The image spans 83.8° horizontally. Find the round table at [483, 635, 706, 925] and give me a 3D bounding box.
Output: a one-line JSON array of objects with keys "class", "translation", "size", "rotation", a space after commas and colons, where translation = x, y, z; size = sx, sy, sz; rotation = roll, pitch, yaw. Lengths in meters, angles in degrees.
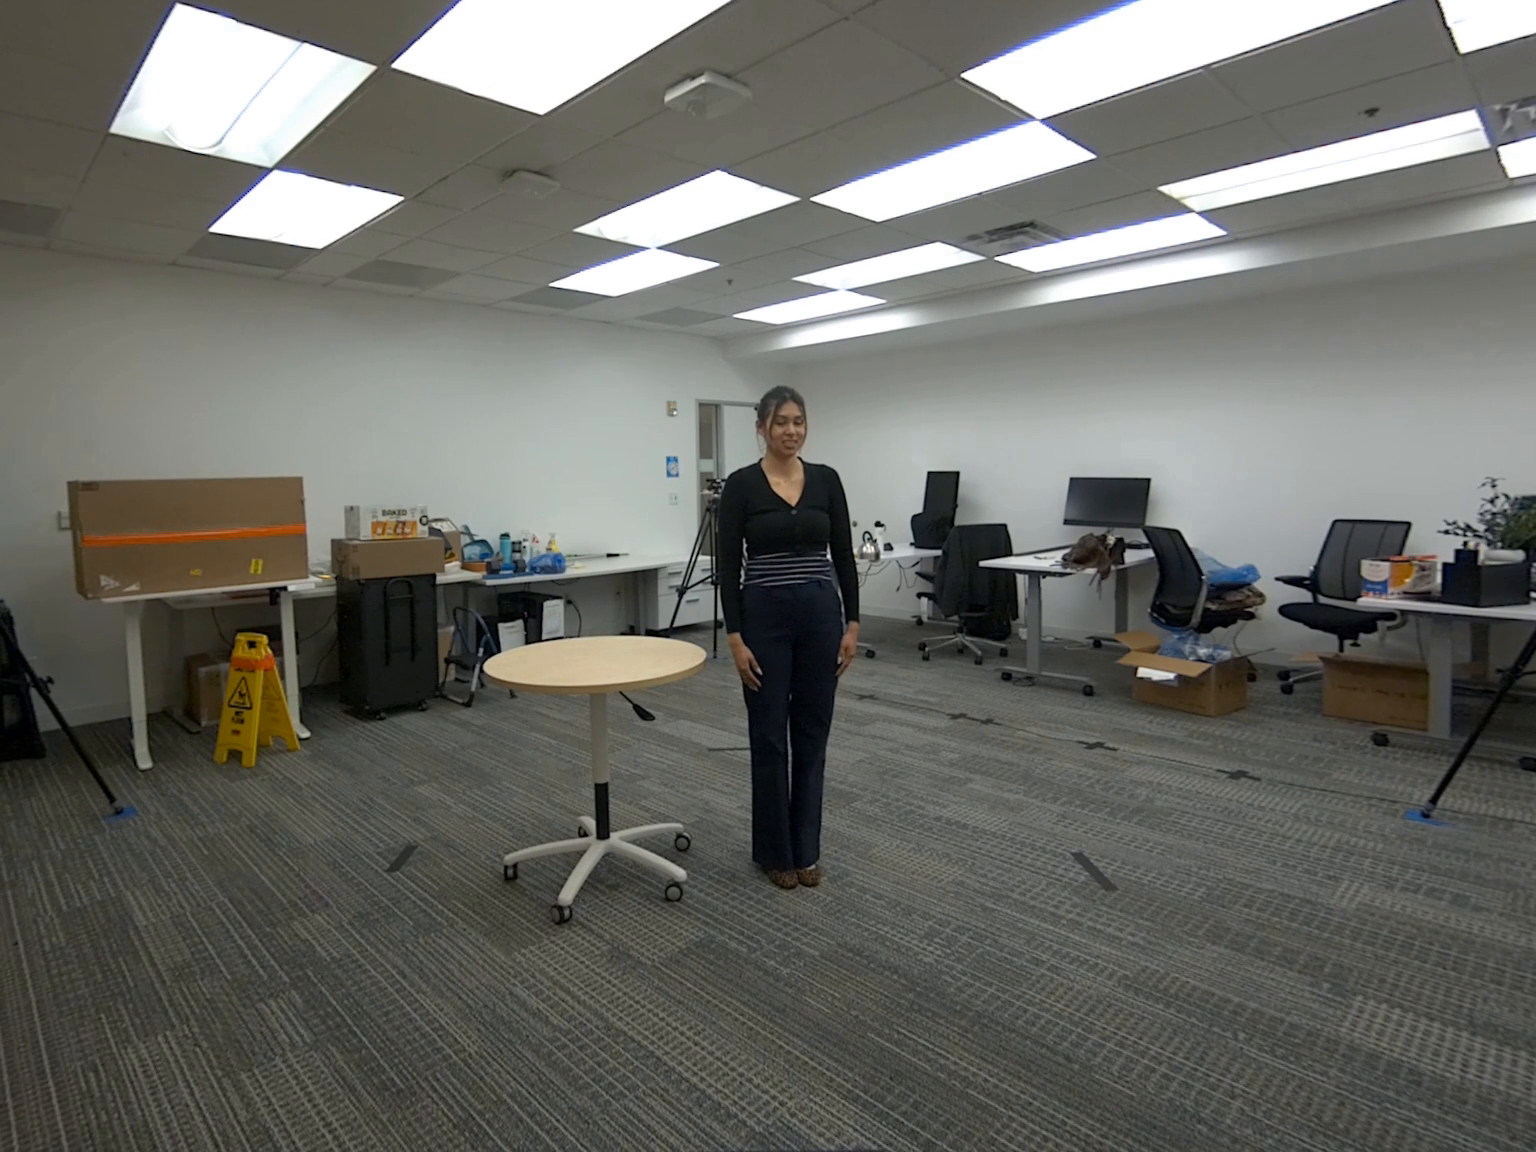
[{"class": "round table", "translation": [-0.585, 0.677, 3.008], "size": [0.763, 0.790, 0.768], "rotation": [-2, 6, -2]}]
